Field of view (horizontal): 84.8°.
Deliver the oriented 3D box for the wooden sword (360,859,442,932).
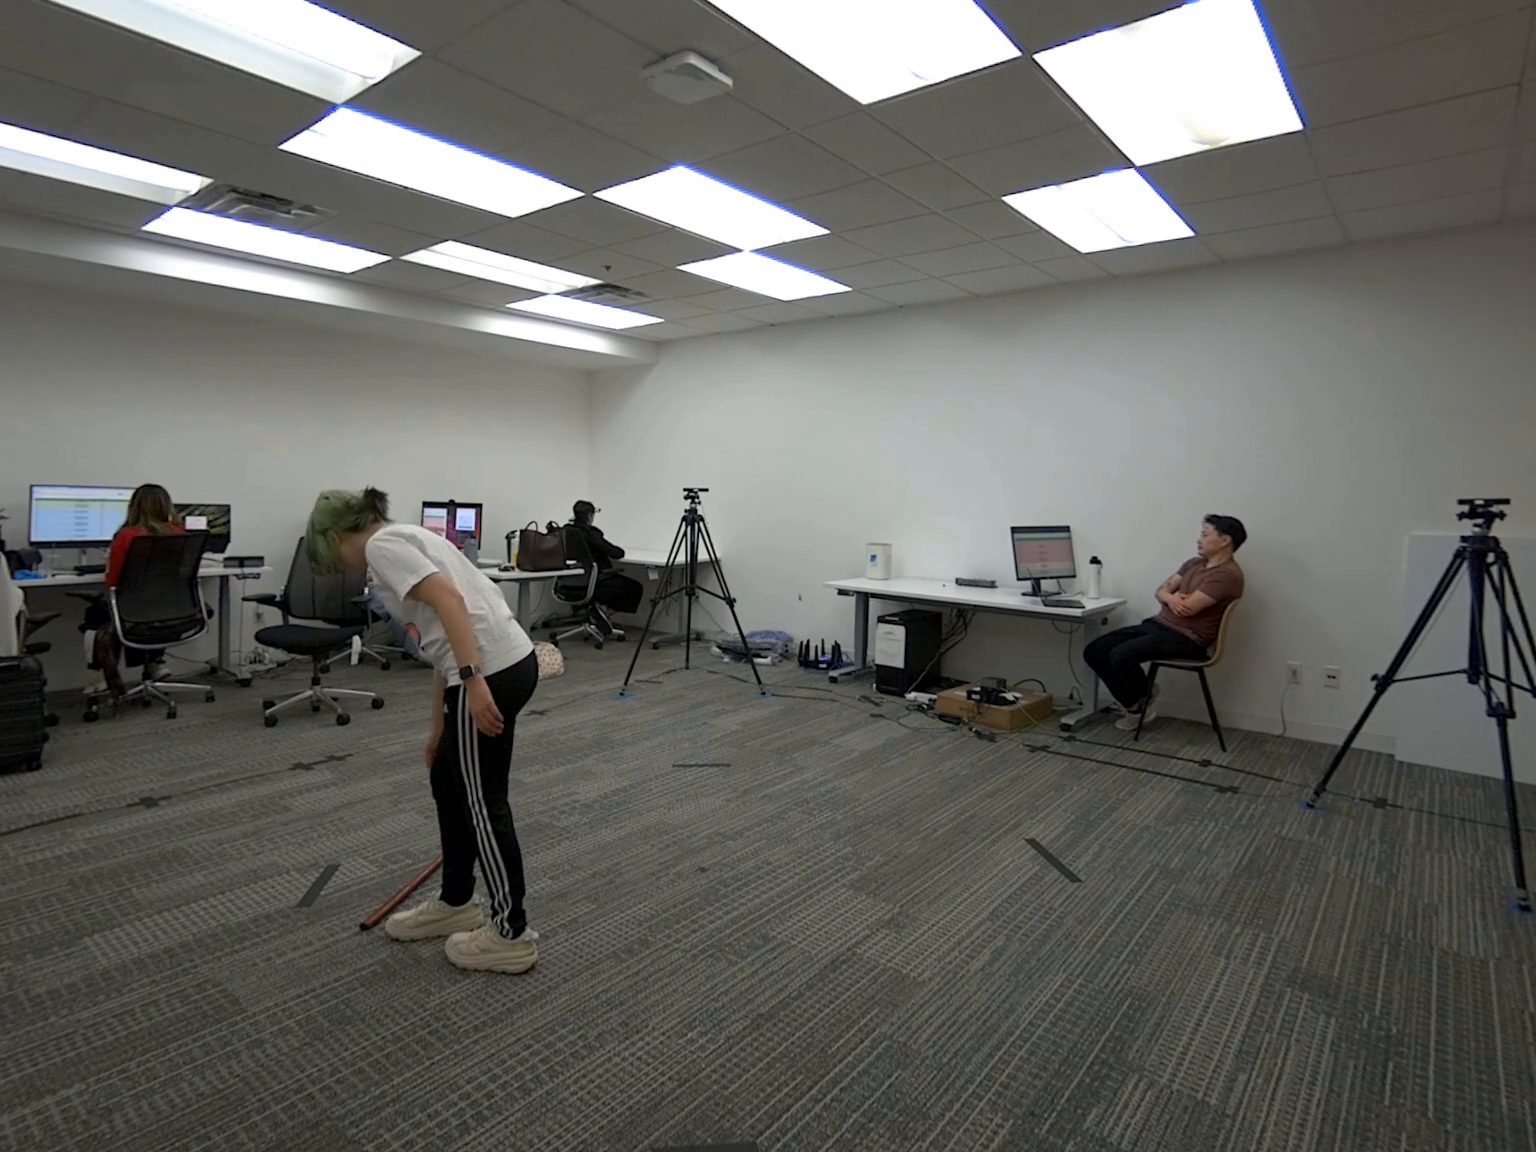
[{"bbox_3d":[-1.194,1.019,3.129,0.024,0.051,1.022,-21,4,6],"label":"wooden sword"}]
